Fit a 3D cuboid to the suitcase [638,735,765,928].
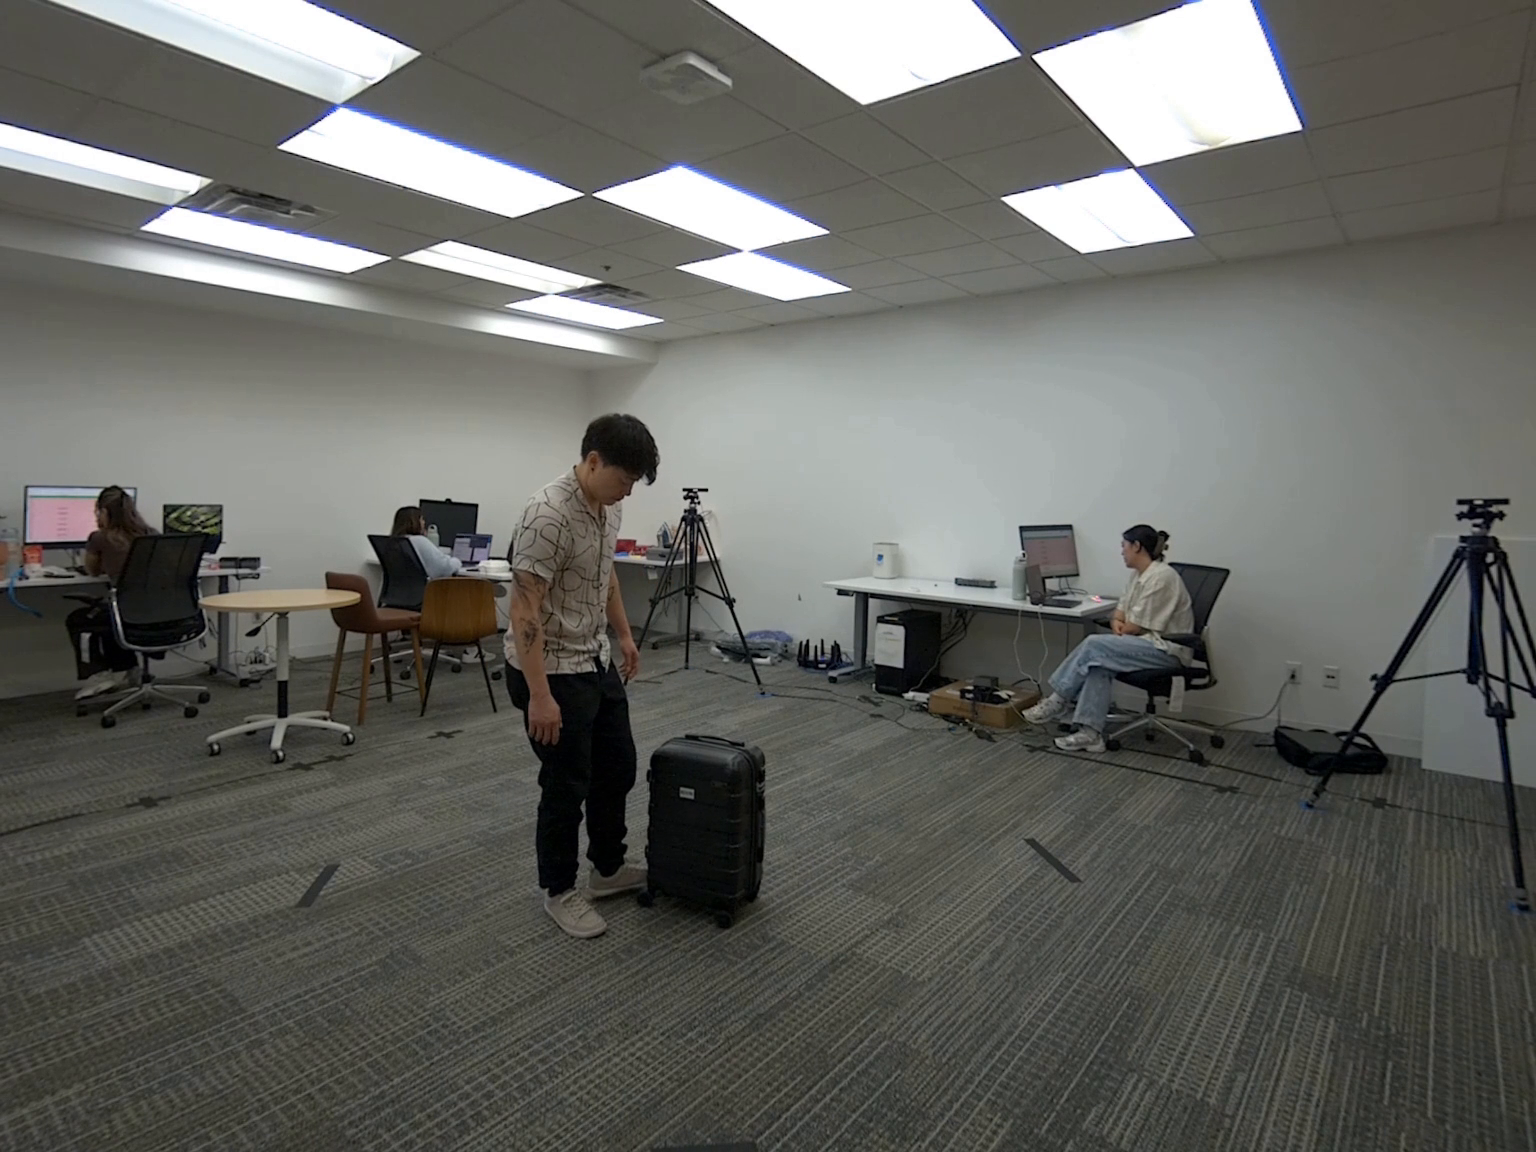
[{"bbox_3d":[-0.204,0.820,2.850,0.384,0.548,0.243,3,4,20],"label":"suitcase"}]
